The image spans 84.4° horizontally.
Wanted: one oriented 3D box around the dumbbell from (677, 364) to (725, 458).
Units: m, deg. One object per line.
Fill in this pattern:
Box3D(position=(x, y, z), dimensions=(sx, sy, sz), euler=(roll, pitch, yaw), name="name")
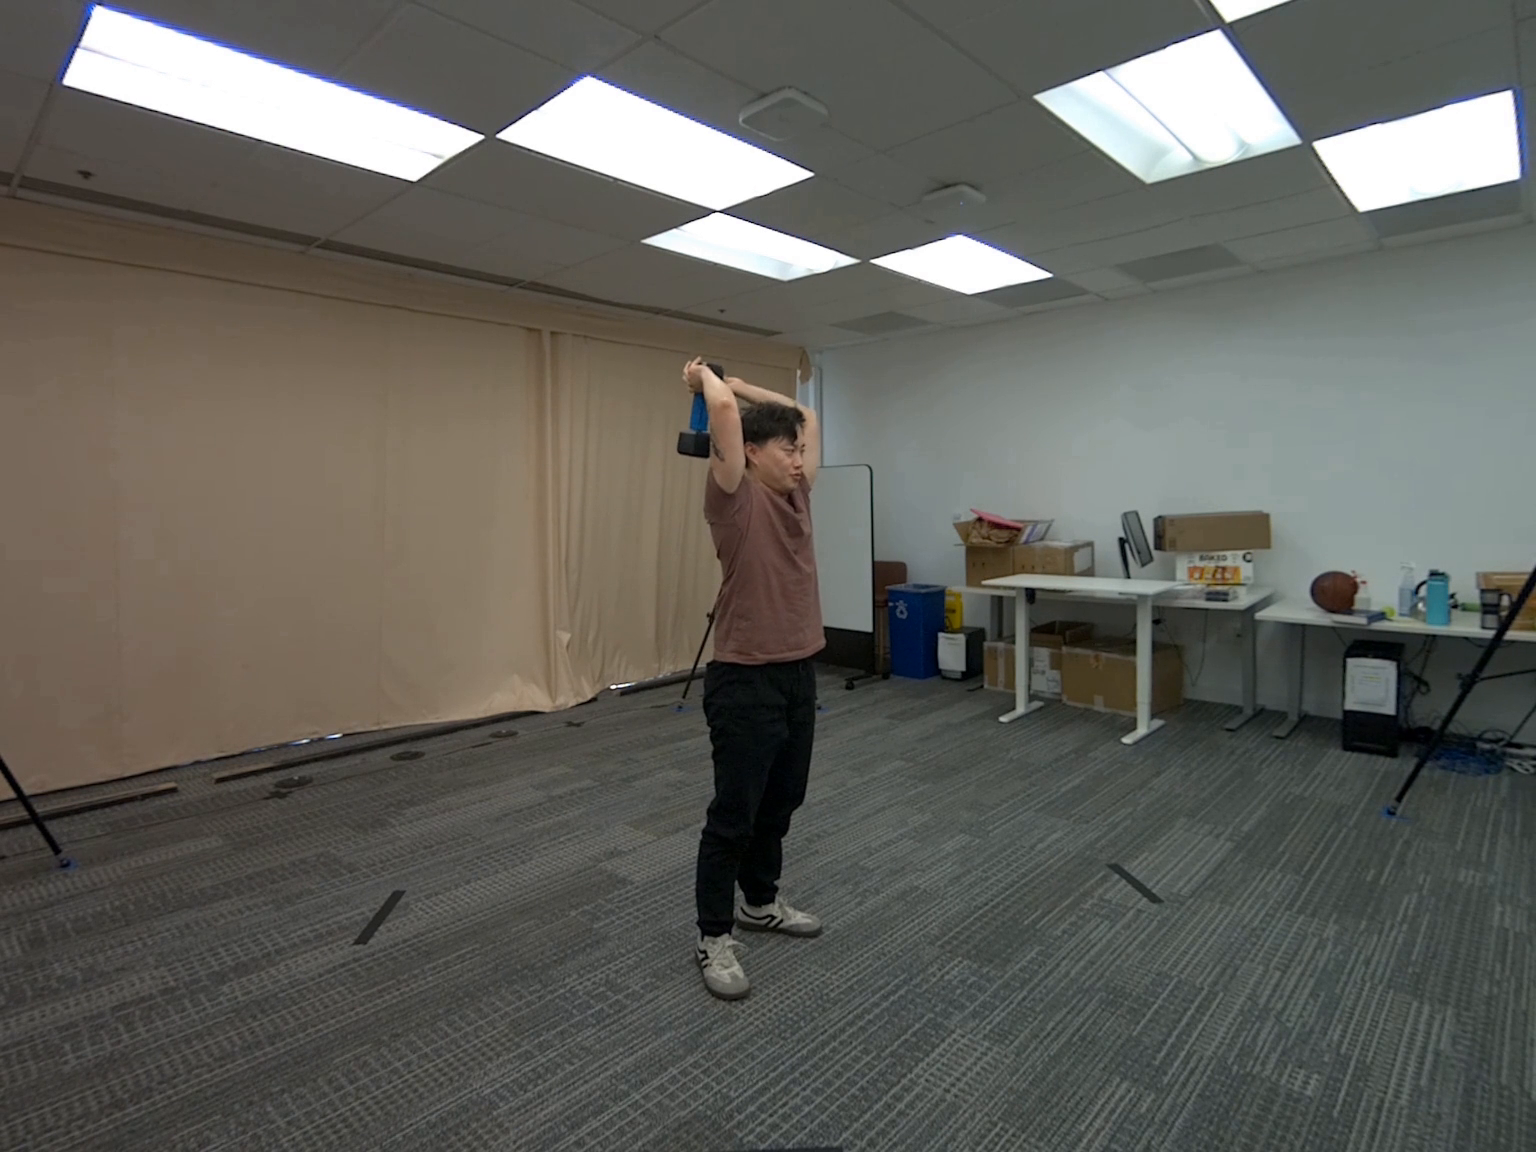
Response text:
Box3D(position=(-0.205, -0.513, 2.656), dimensions=(0.127, 0.292, 0.105), euler=(16, 9, 38), name="dumbbell")
